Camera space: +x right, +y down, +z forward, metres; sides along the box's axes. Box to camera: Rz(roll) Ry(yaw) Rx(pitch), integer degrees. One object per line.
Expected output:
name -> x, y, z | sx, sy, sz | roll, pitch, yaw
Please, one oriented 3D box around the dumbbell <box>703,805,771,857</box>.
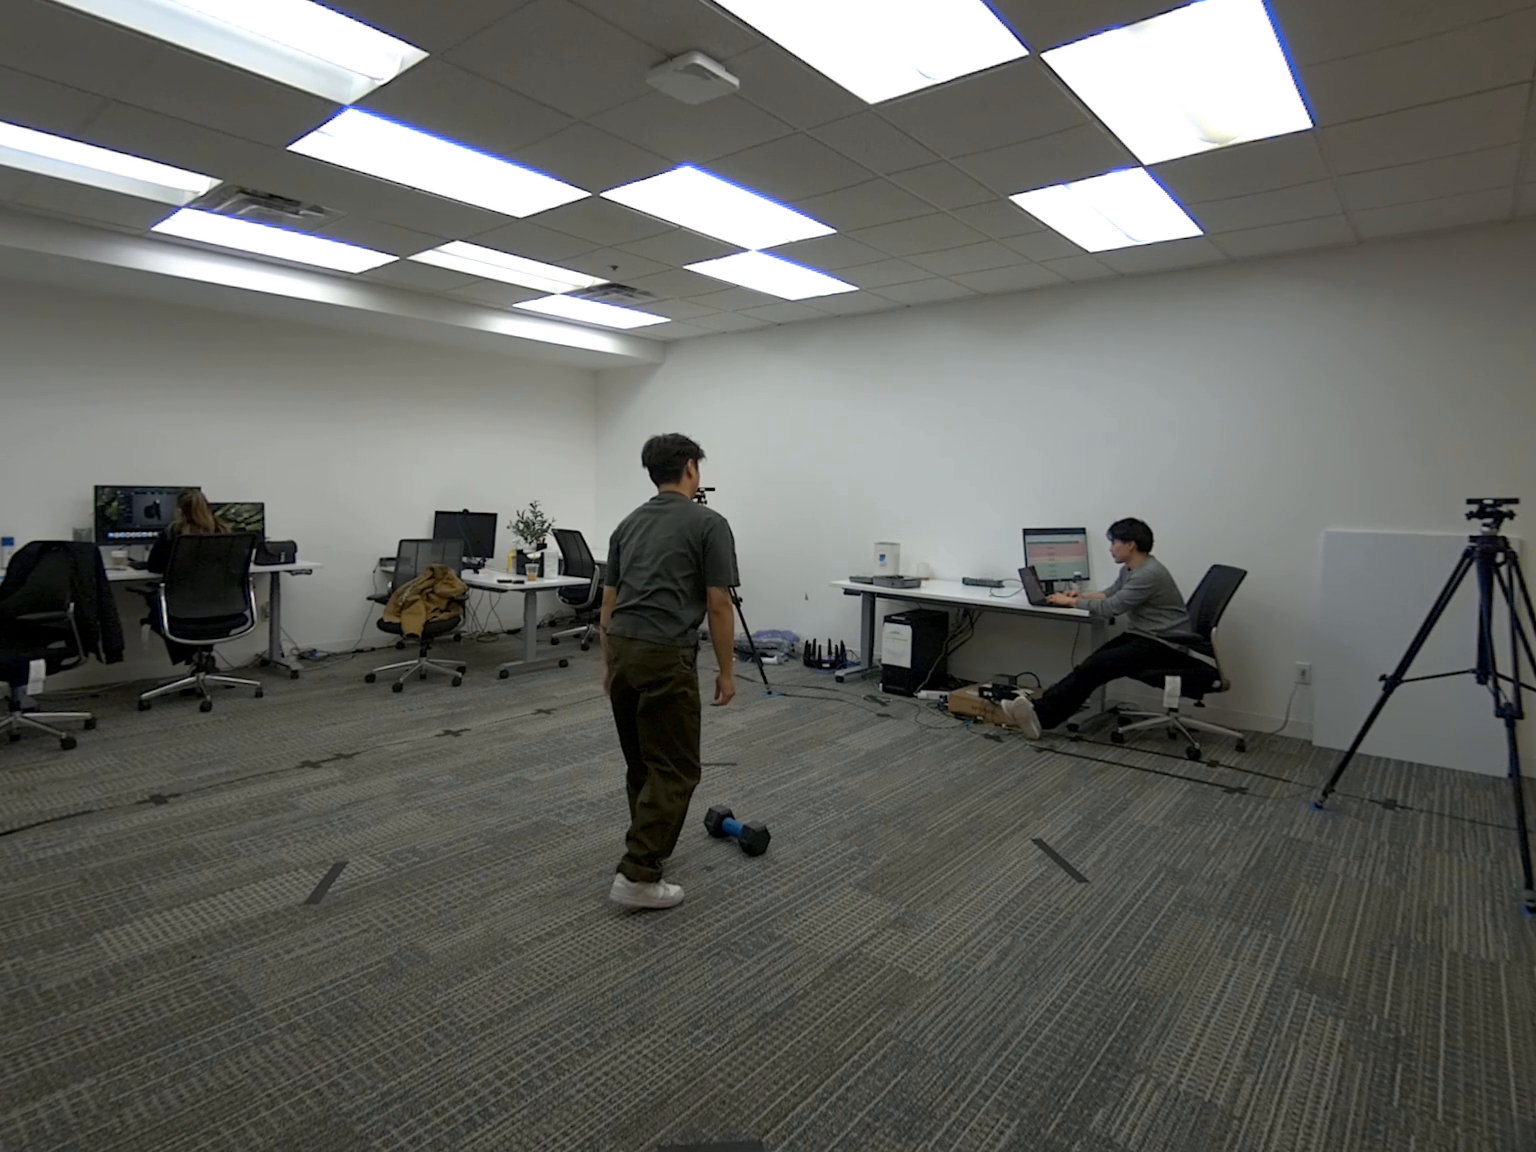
dumbbell -> -0.134, 0.988, 3.335 | 0.104, 0.124, 0.303 | 39, -20, -35
